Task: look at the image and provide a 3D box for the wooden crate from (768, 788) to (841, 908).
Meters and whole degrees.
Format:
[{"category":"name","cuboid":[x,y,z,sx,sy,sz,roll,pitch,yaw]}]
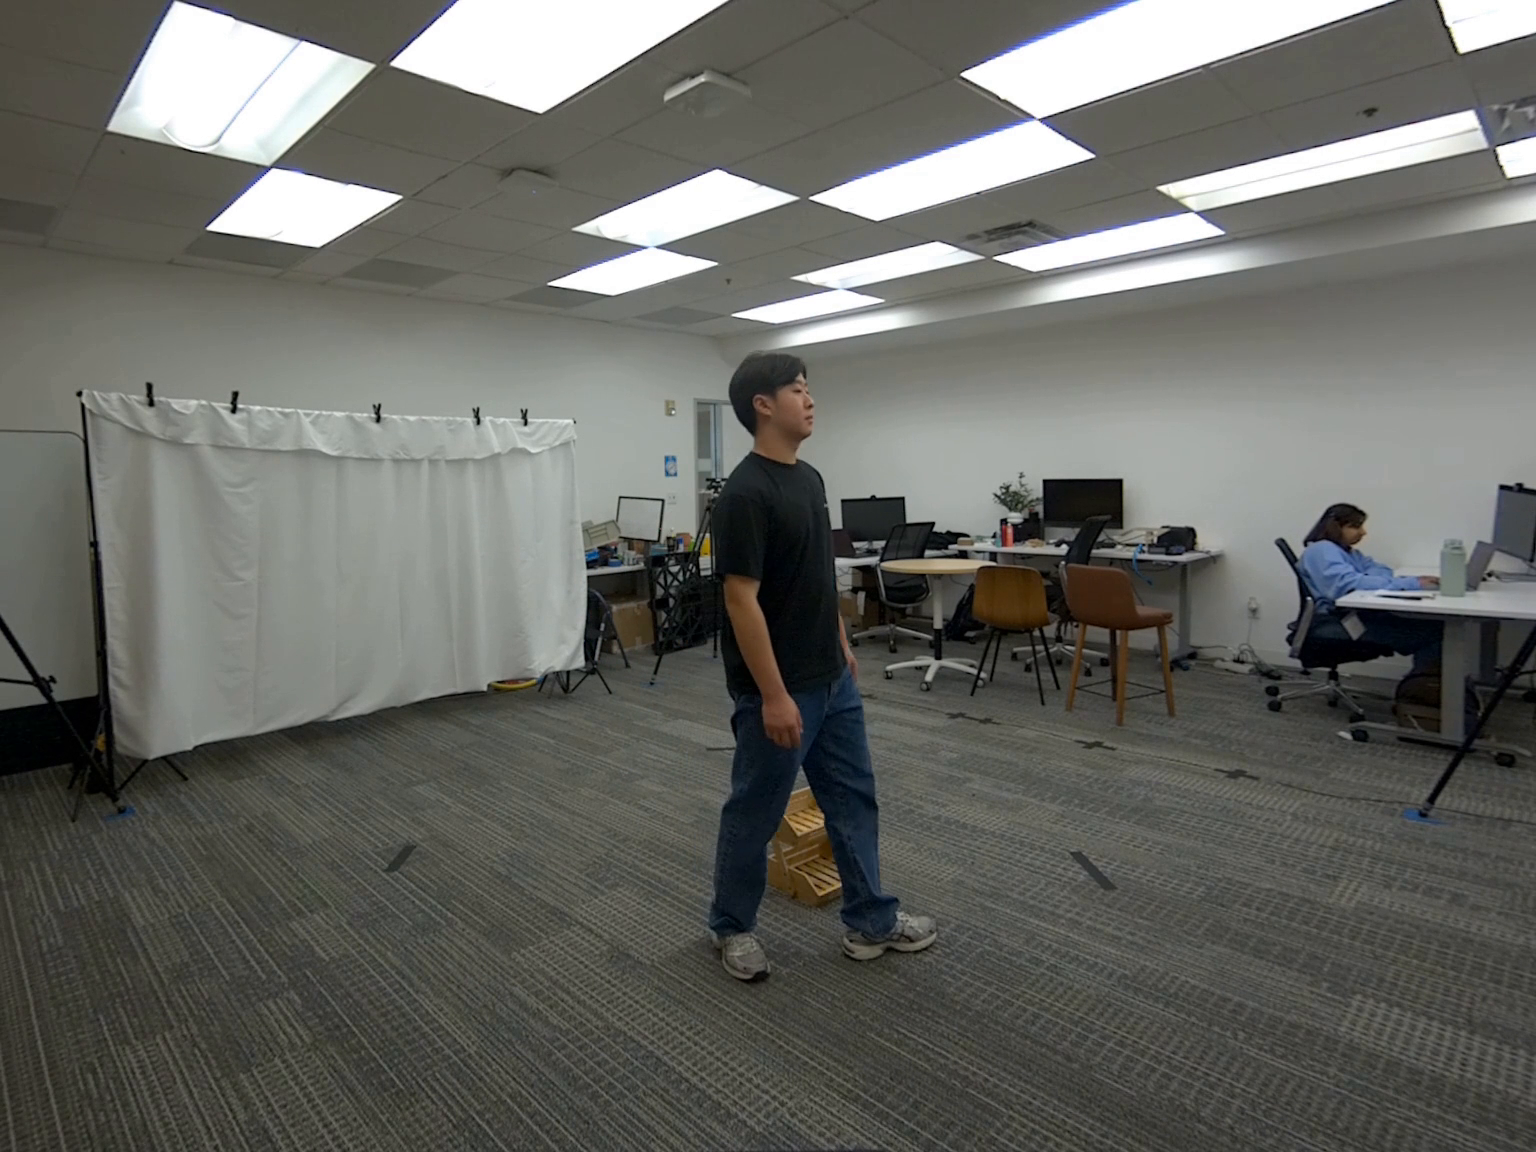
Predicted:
[{"category":"wooden crate","cuboid":[0.180,0.921,2.957,0.316,0.272,0.311,-6,6,-40]}]
